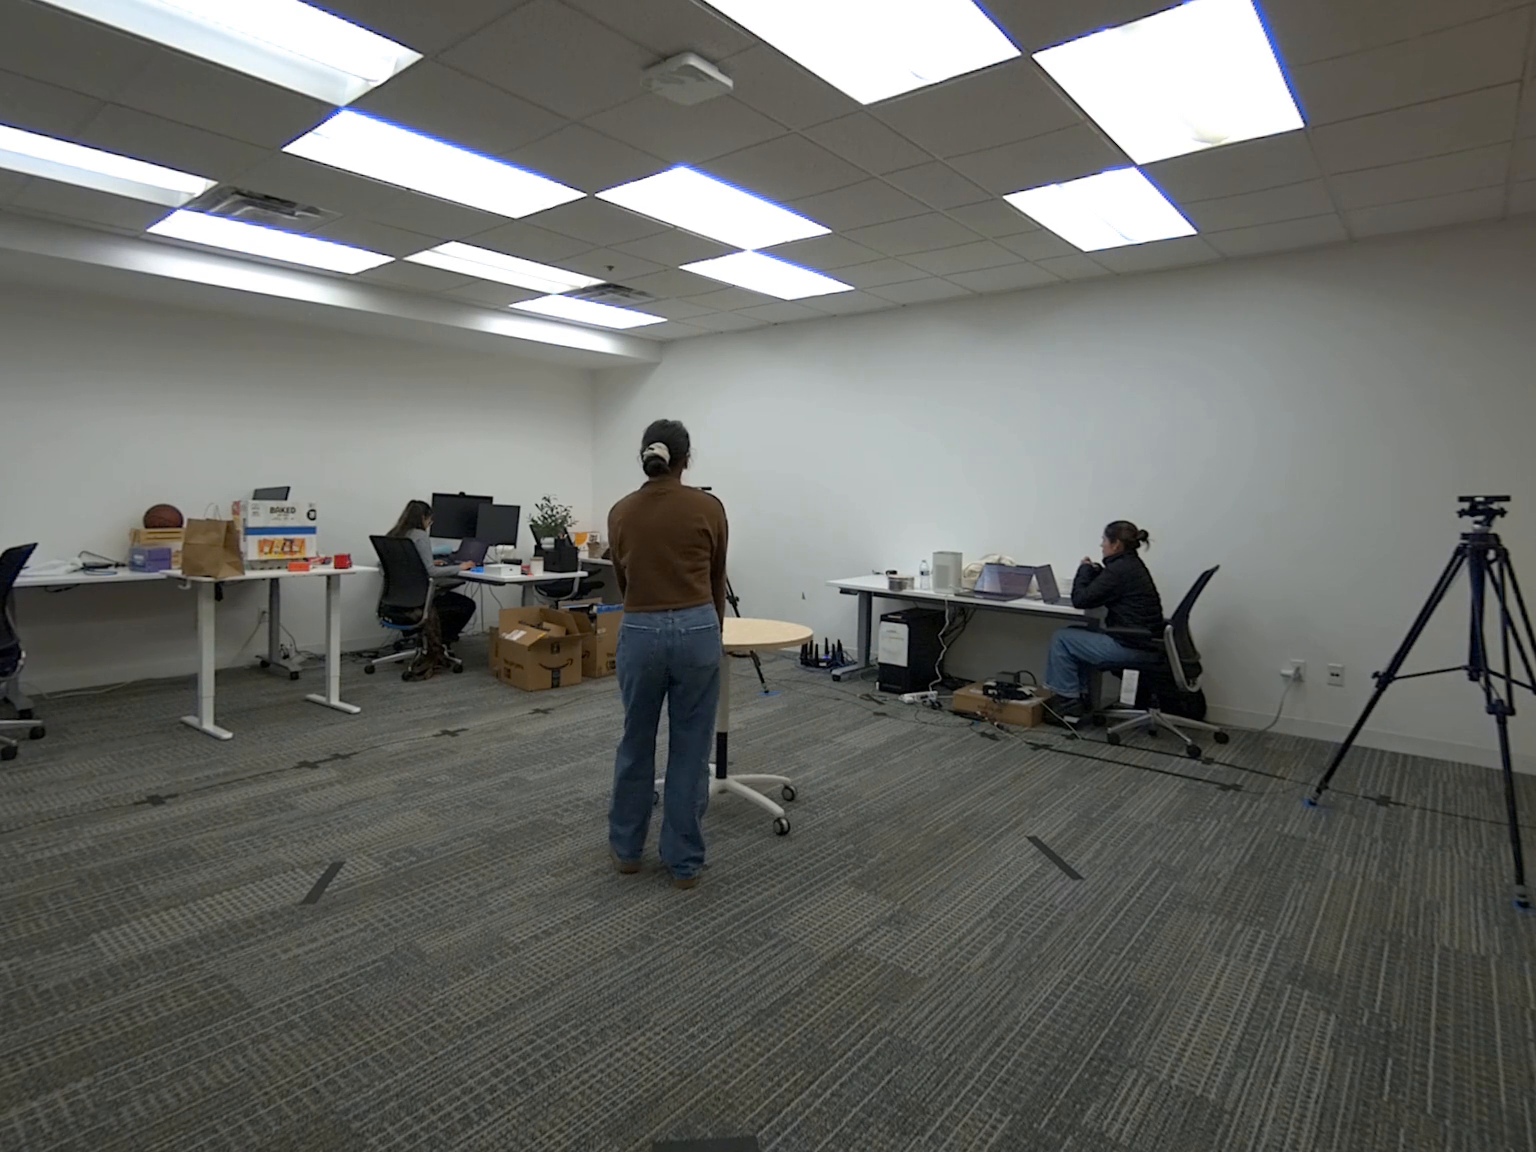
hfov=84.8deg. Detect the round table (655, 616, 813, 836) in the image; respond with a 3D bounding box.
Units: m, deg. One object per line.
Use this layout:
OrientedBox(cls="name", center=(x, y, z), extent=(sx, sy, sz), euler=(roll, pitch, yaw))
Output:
OrientedBox(cls="round table", center=(-0.197, 0.619, 3.638), extent=(0.784, 0.784, 0.788), euler=(1, 4, -2))
